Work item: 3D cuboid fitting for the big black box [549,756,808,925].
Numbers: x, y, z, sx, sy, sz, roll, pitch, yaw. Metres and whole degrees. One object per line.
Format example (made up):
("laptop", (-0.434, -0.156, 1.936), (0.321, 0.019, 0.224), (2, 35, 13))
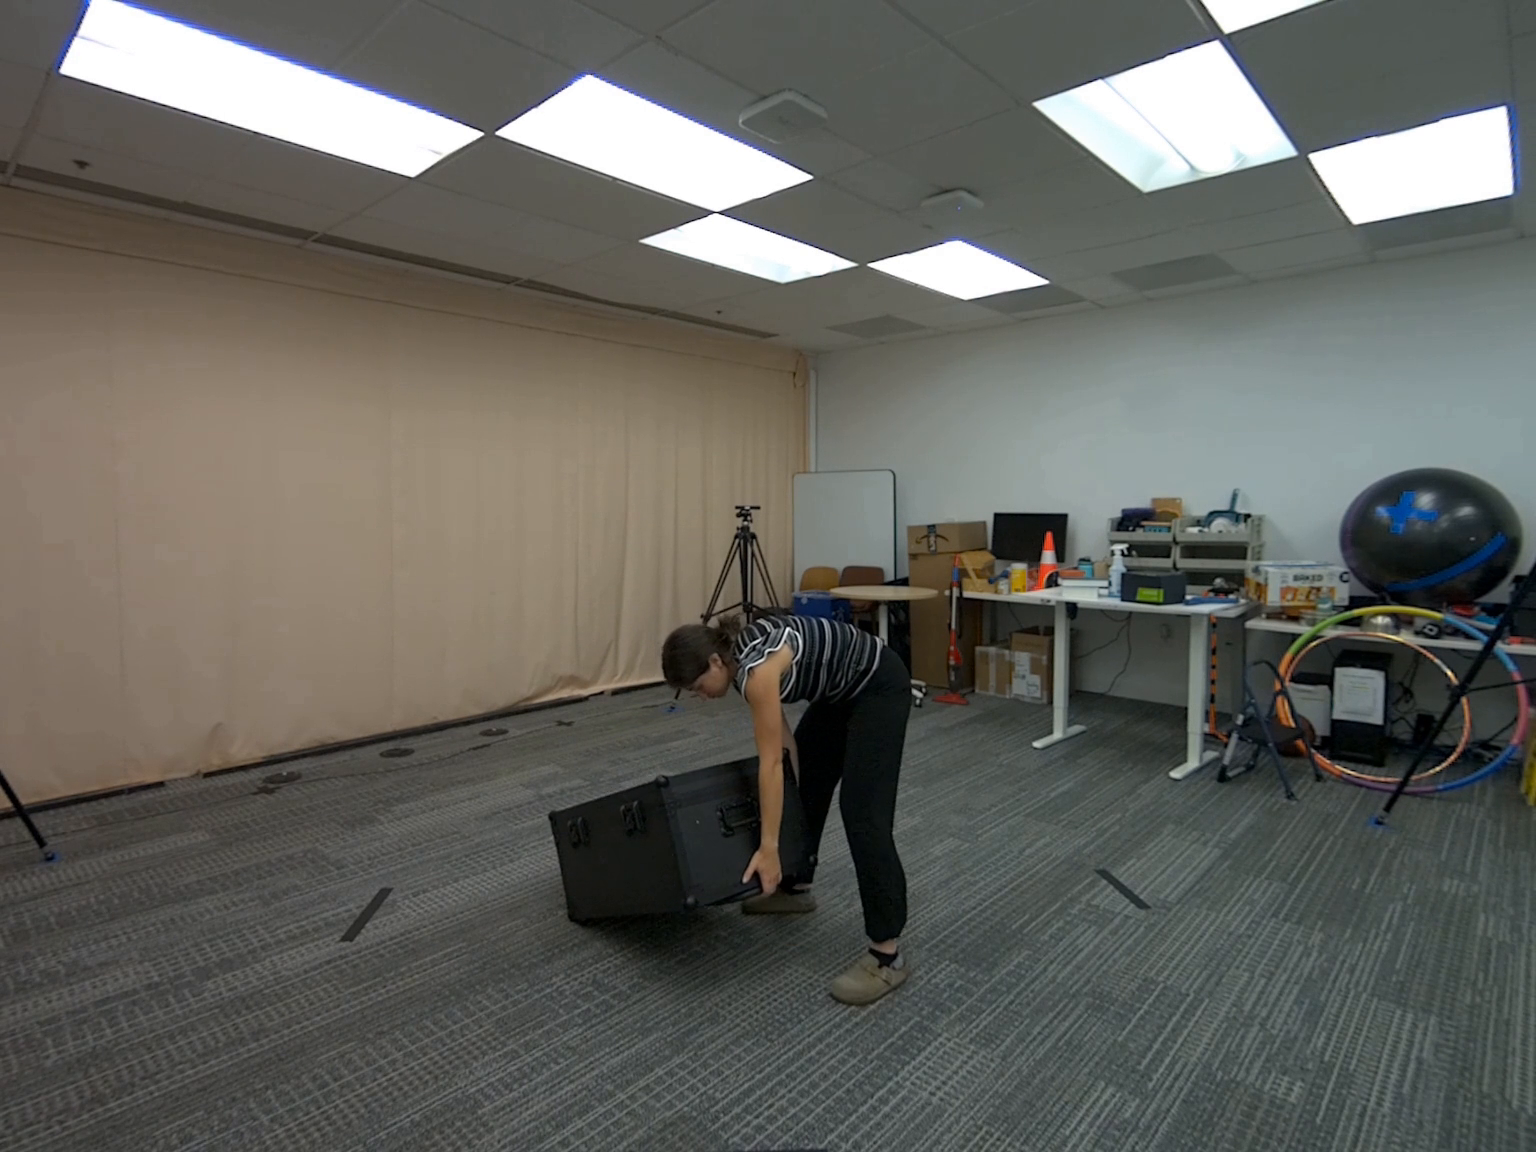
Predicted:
("big black box", (-0.325, 0.876, 2.760), (0.506, 0.401, 0.876), (-3, -17, -38))
